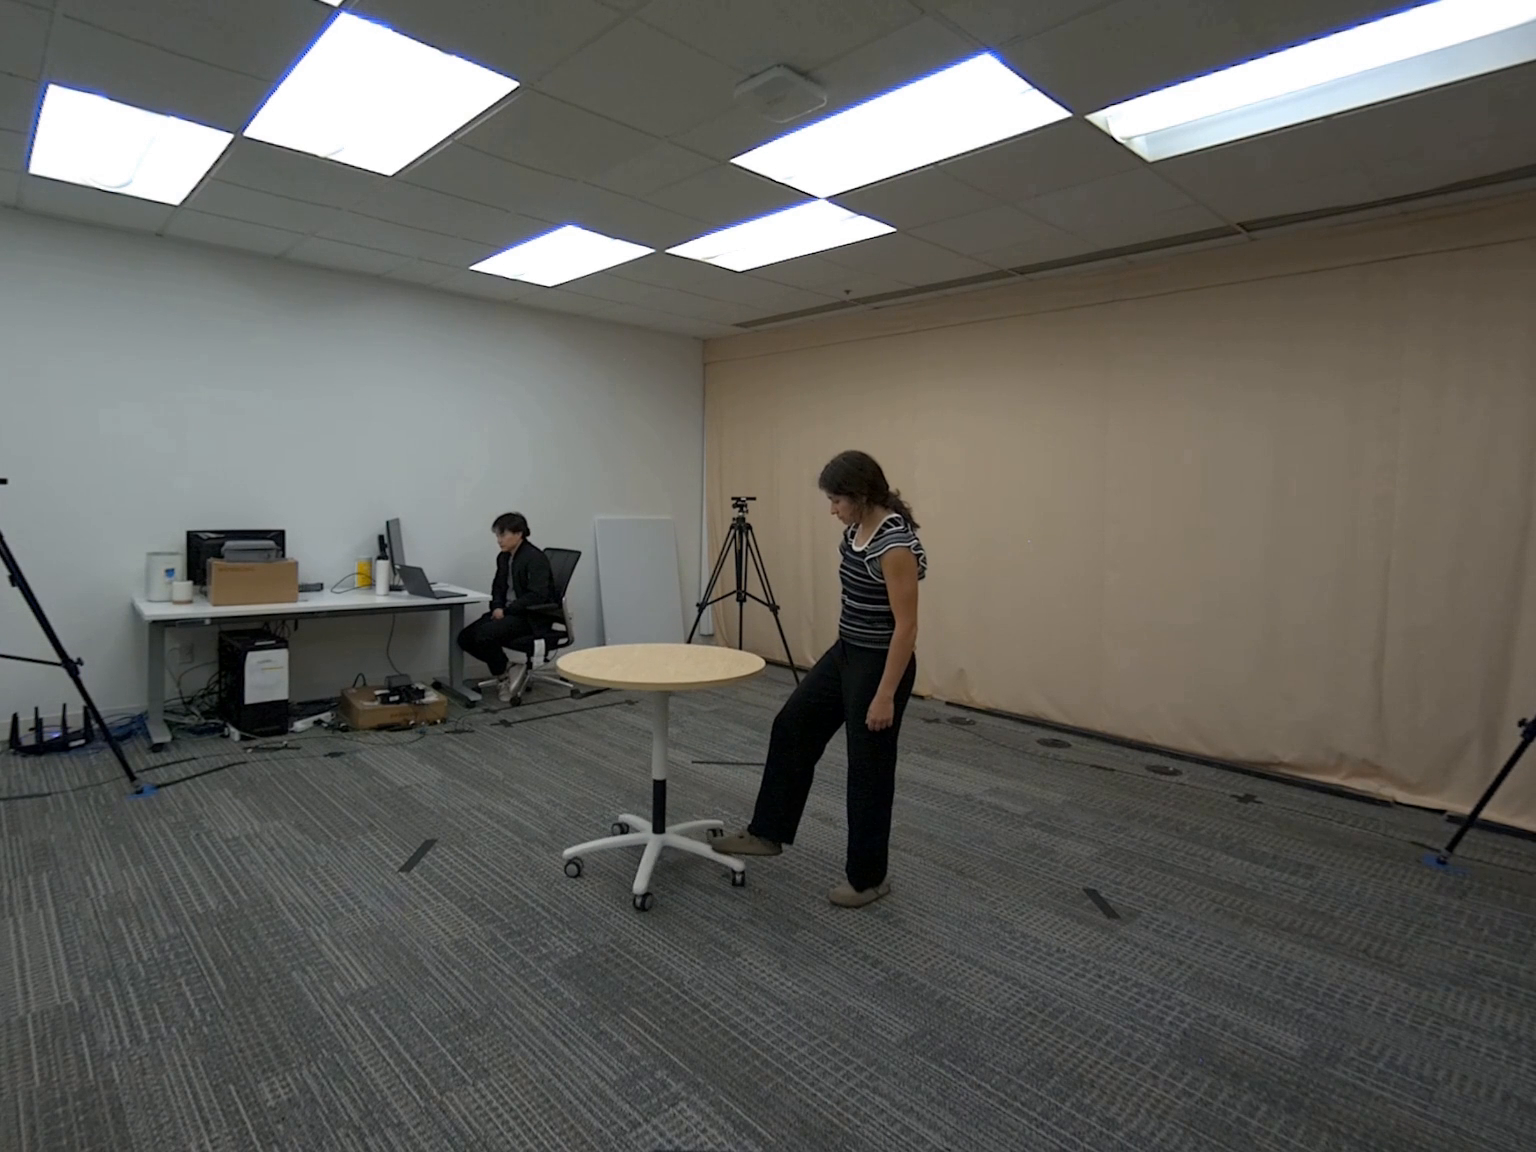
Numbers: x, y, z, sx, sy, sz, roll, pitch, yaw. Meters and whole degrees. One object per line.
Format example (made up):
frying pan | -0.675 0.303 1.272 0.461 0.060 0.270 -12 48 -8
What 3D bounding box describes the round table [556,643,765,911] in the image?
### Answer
round table | -0.397 0.701 3.124 0.784 0.784 0.787 1 4 -1
